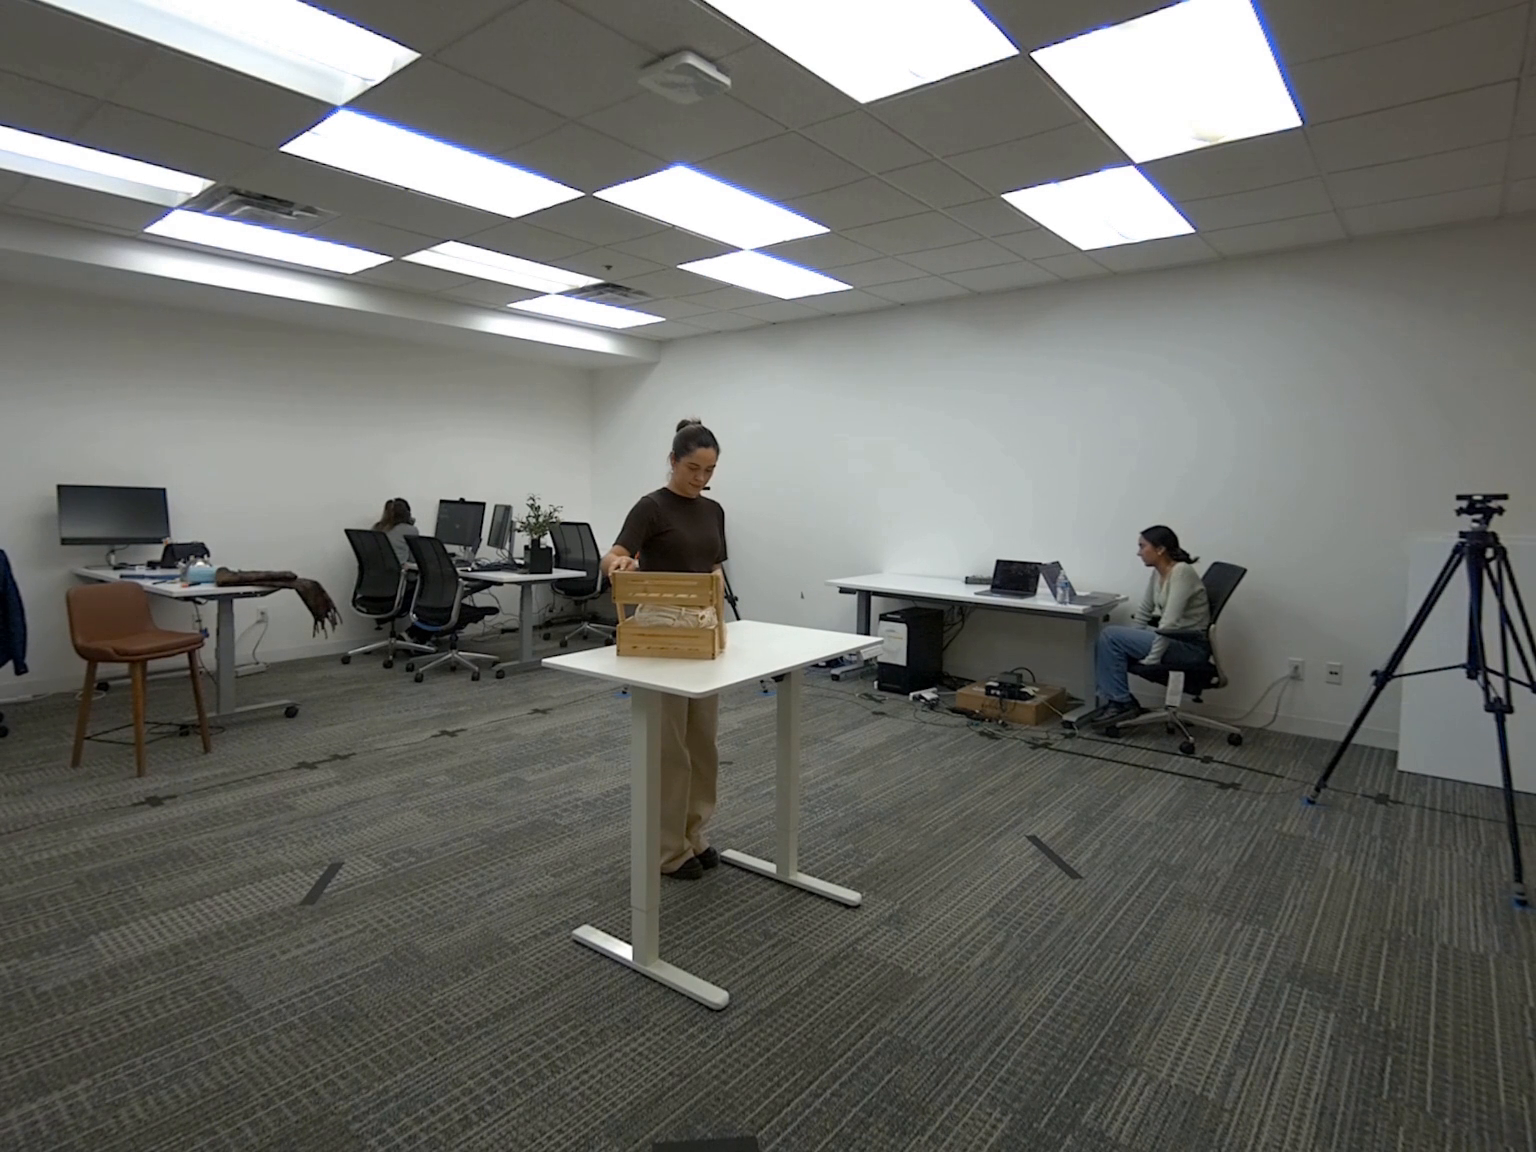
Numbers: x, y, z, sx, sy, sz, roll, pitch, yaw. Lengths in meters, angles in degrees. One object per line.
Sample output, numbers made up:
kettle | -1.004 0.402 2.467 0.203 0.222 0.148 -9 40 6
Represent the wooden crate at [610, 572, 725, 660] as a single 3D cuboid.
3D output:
wooden crate | -0.304 0.101 2.627 0.327 0.272 0.301 1 5 7
